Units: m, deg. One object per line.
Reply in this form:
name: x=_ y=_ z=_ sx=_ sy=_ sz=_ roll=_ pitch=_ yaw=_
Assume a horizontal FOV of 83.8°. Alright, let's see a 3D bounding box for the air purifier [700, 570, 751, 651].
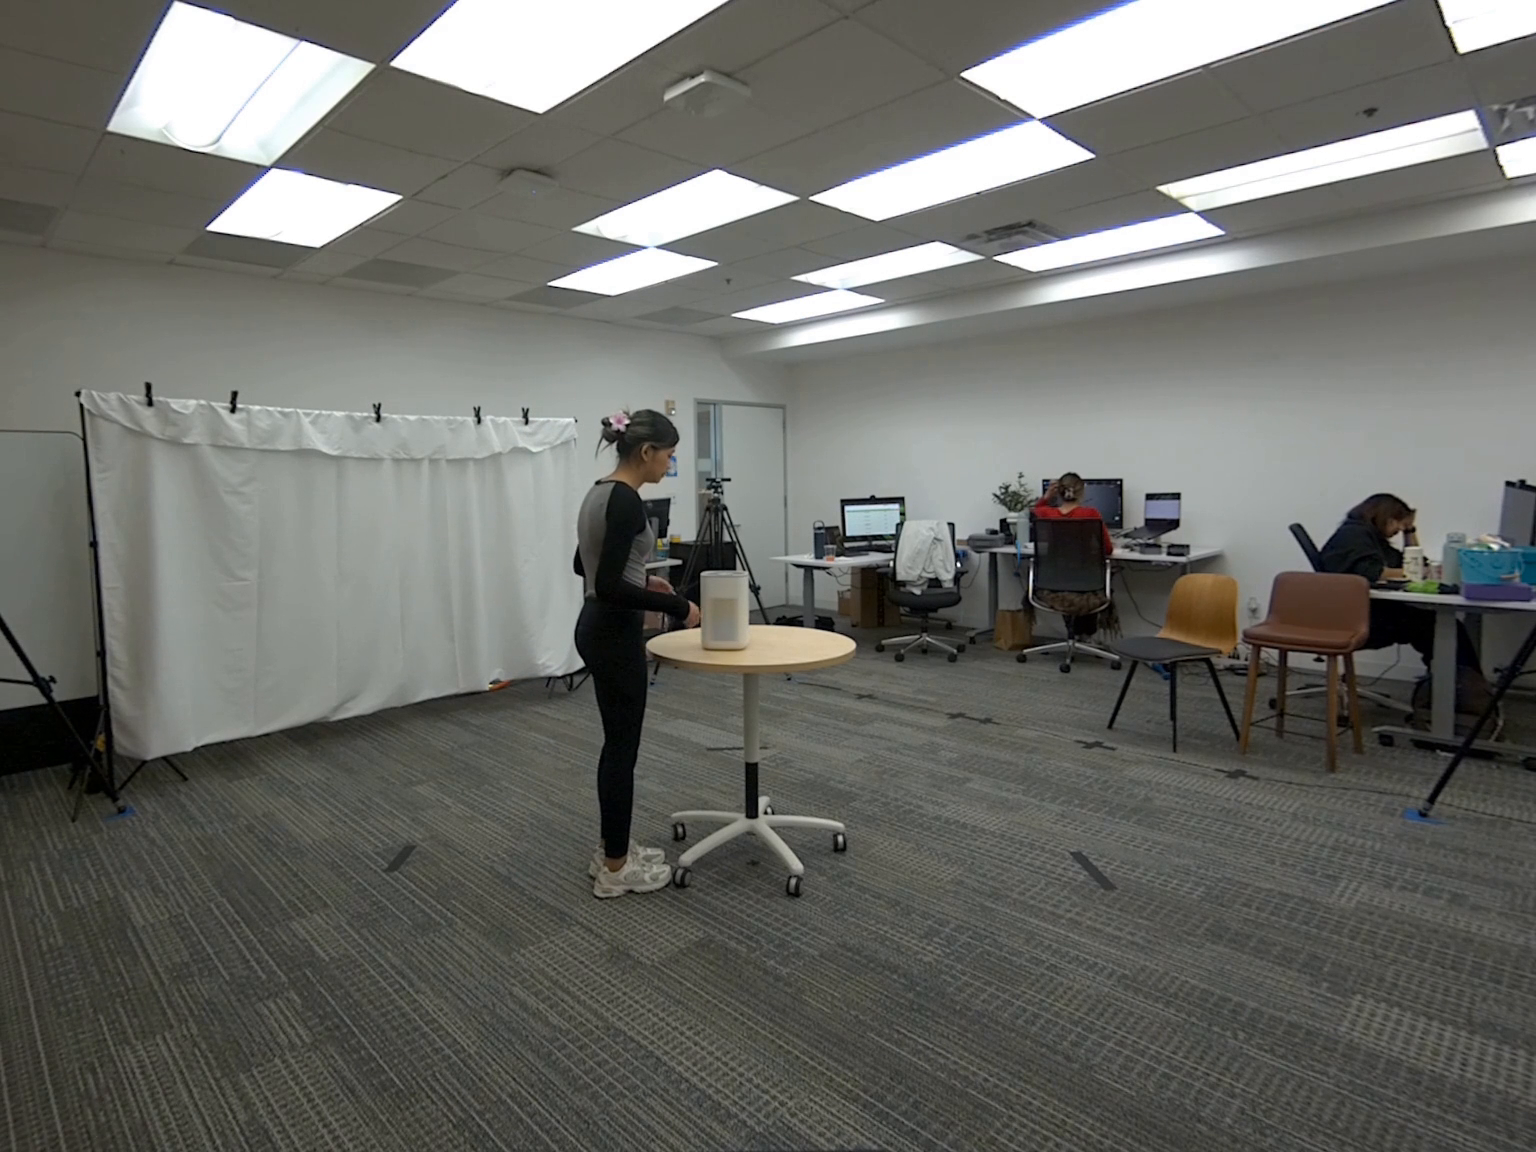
air purifier: x=-0.158 y=0.121 z=3.054 sx=0.172 sy=0.264 sz=0.171 roll=-1 pitch=4 yaw=4
